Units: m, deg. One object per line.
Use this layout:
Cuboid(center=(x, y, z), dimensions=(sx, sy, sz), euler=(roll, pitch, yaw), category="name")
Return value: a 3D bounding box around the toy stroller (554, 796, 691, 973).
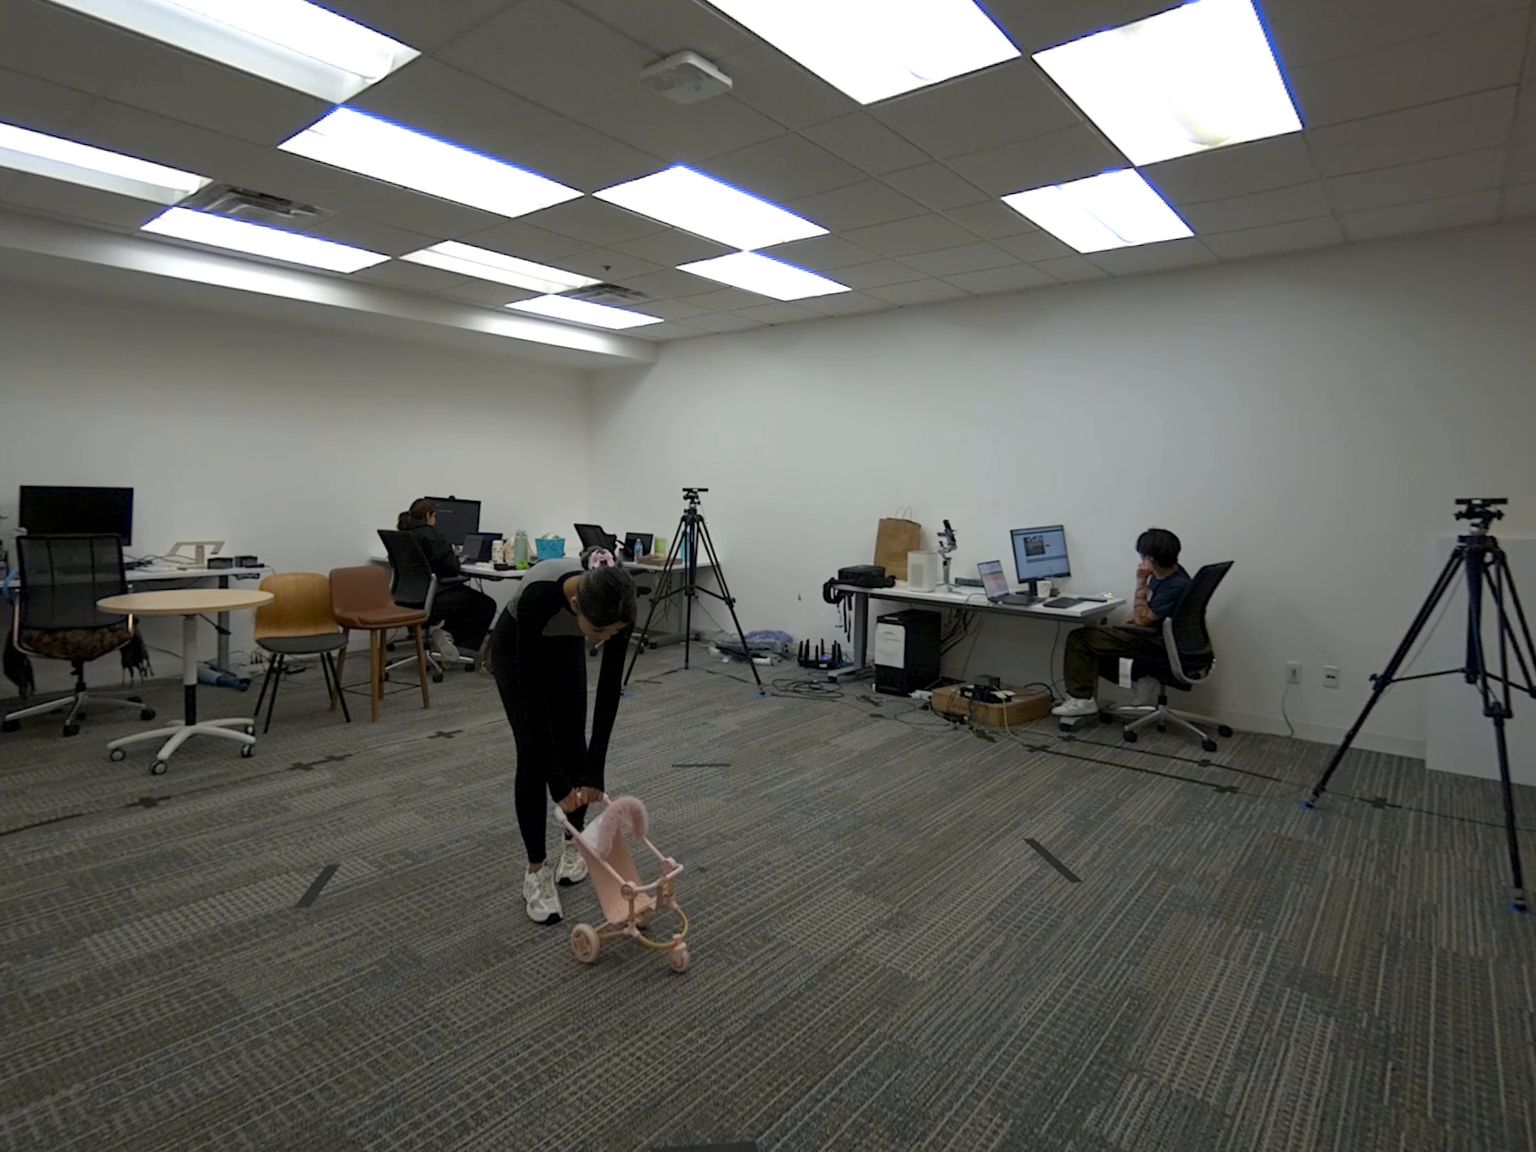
Cuboid(center=(-0.426, 0.897, 2.542), dimensions=(0.348, 0.539, 0.273), euler=(-18, -8, 36), category="toy stroller")
